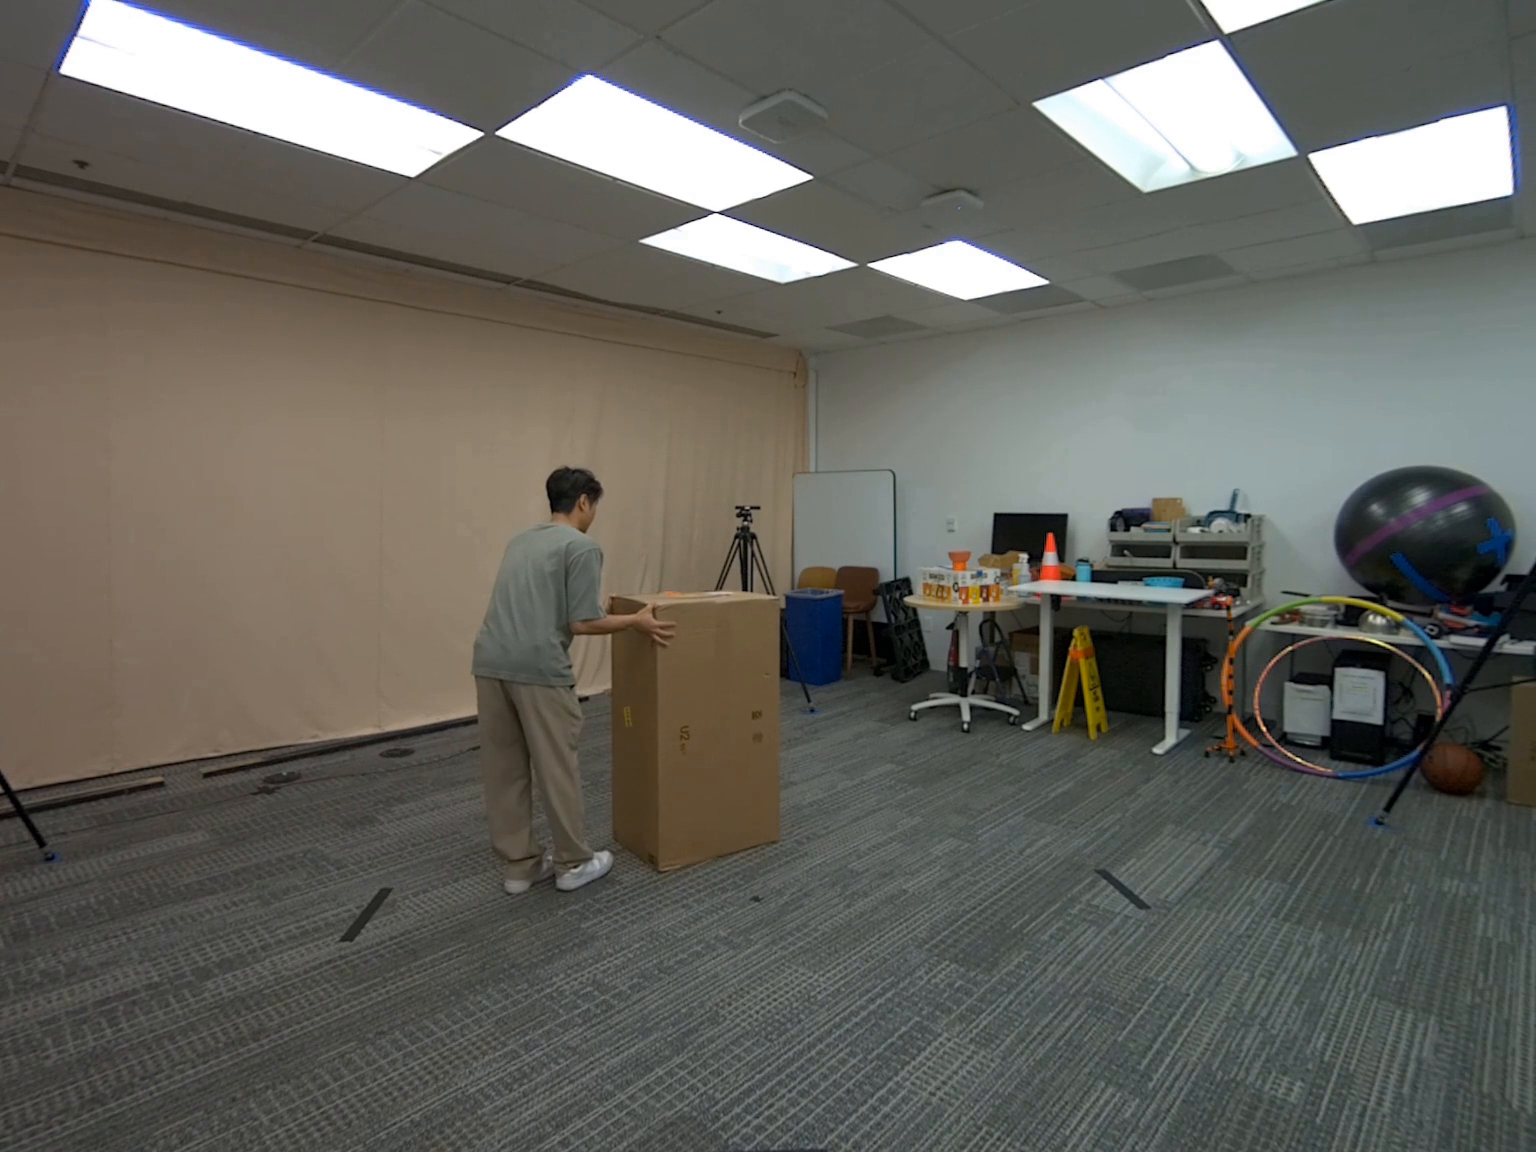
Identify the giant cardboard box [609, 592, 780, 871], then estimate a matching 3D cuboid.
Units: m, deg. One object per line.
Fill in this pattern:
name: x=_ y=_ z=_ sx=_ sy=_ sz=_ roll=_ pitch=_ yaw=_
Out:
giant cardboard box: x=-0.300 y=0.594 z=3.507 sx=0.561 sy=1.024 sz=0.439 roll=-2 pitch=3 yaw=-34
